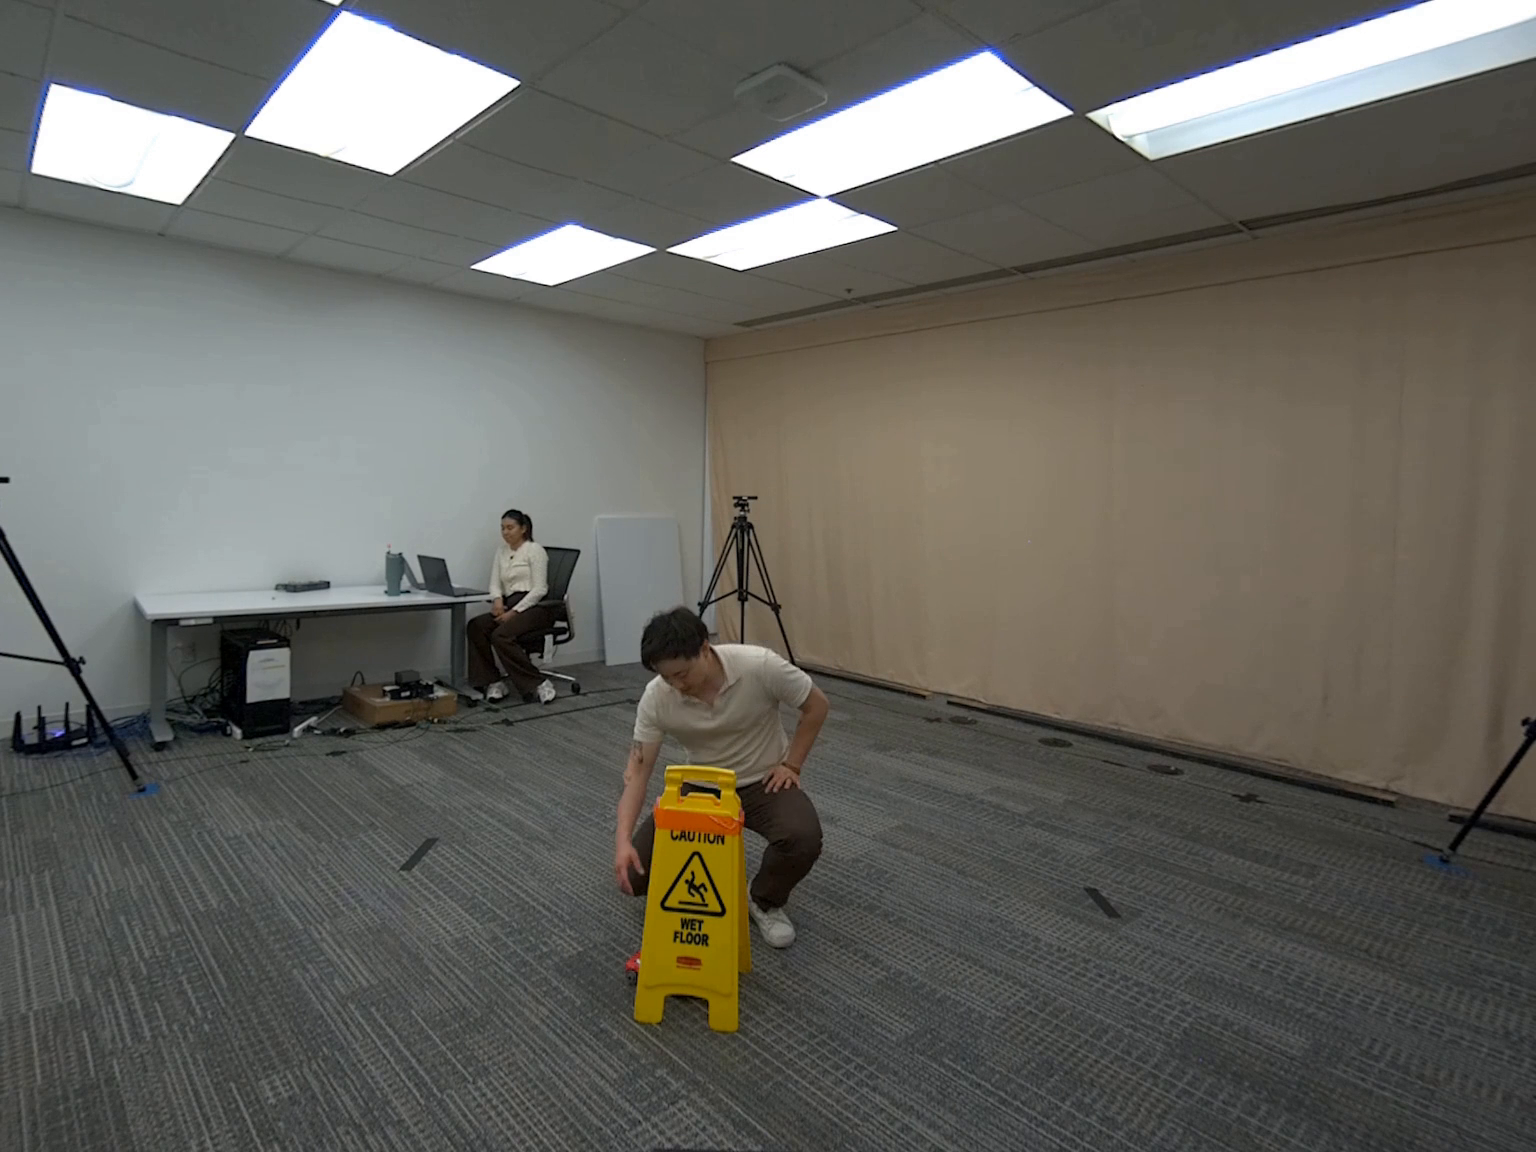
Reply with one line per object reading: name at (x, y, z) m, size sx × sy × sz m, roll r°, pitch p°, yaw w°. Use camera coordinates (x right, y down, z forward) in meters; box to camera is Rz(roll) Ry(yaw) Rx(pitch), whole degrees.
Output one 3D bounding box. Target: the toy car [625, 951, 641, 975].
toy car at (-0.287, 1.146, 2.389) m, size 0.258 × 0.083 × 0.128 m, roll -11°, pitch 0°, yaw 25°
